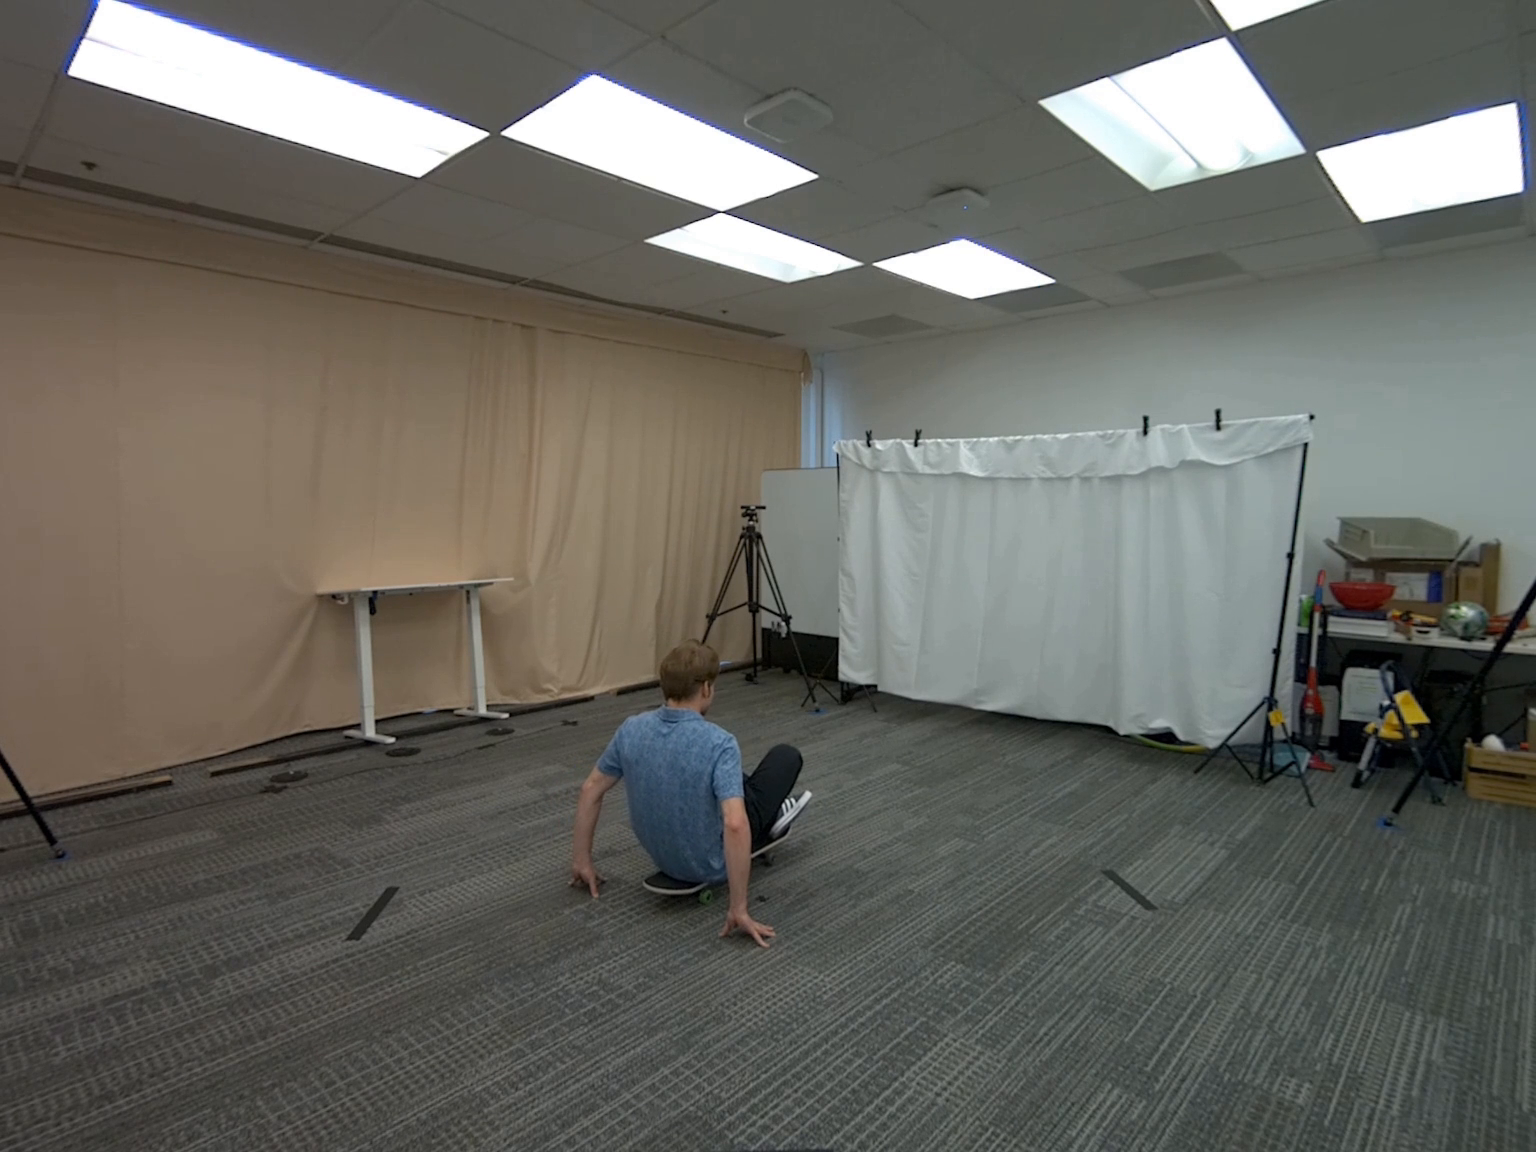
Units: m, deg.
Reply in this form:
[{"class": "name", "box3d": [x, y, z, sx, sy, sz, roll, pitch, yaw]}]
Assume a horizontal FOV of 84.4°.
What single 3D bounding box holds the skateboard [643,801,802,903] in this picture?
[{"class": "skateboard", "box3d": [-0.177, 1.074, 3.177, 0.199, 0.110, 0.765, -2, 5, 31]}]
